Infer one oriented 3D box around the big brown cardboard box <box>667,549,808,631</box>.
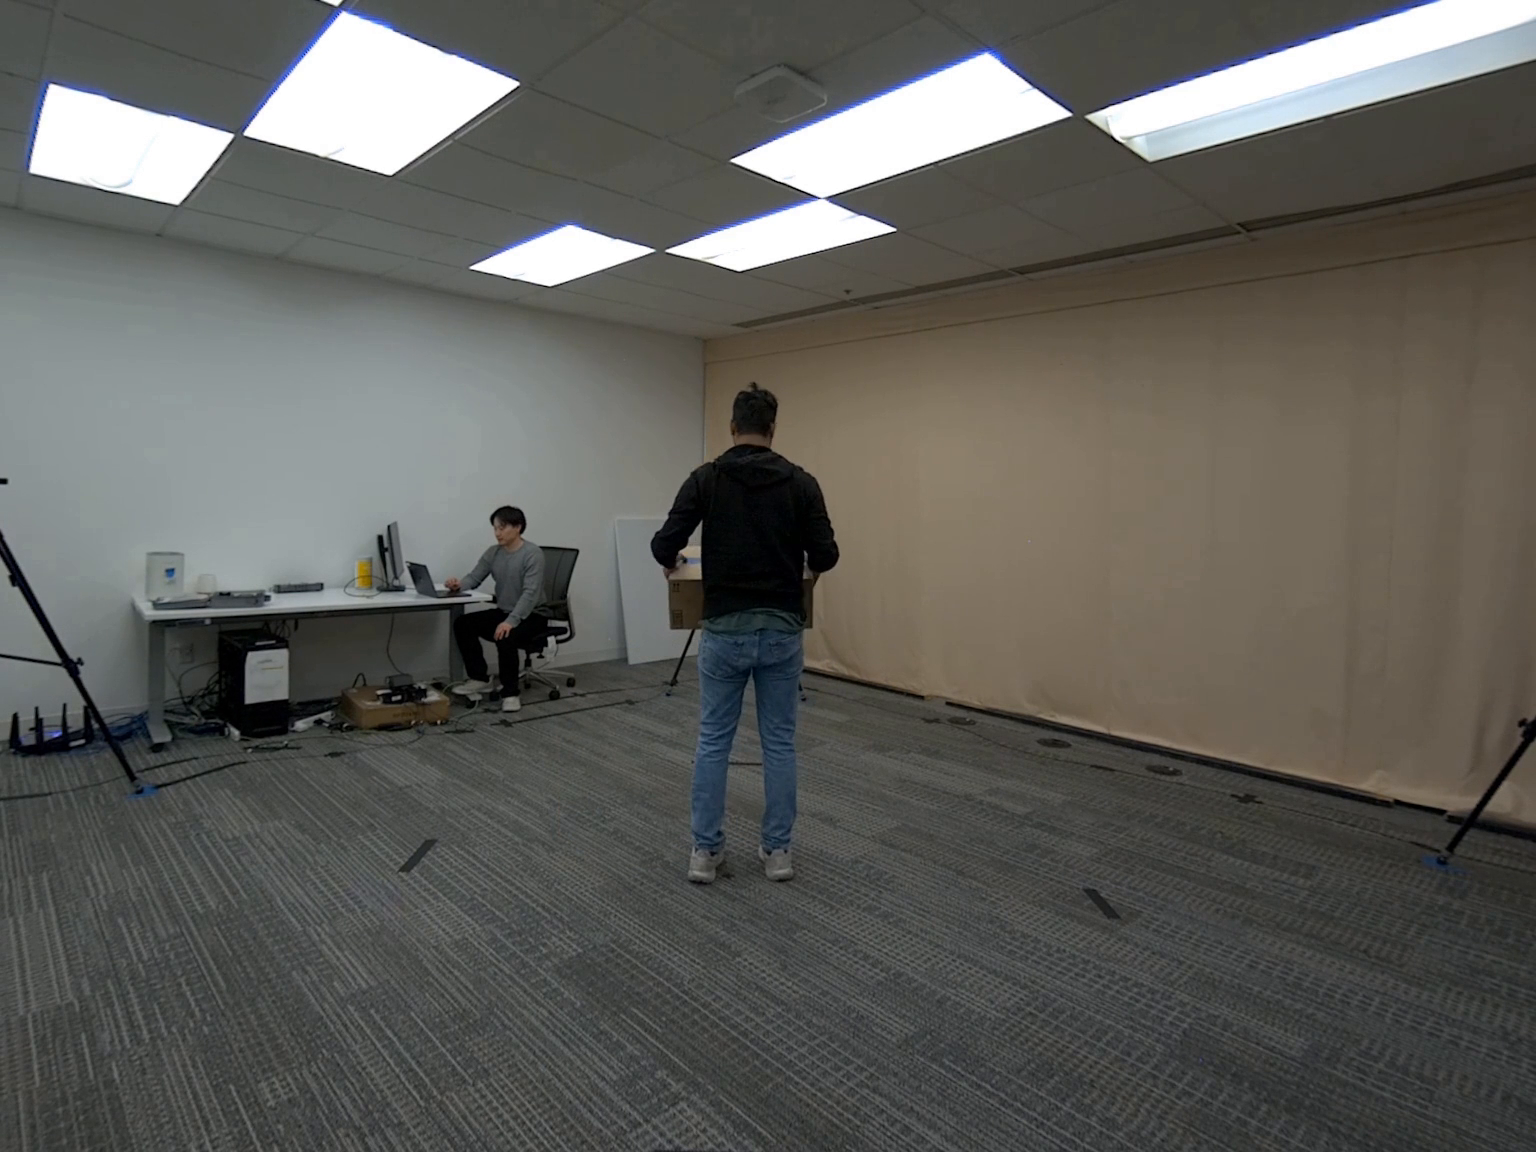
[{"bbox_3d":[-0.105,0.040,3.479,0.590,0.230,0.423,-1,19,1],"label":"big brown cardboard box"}]
